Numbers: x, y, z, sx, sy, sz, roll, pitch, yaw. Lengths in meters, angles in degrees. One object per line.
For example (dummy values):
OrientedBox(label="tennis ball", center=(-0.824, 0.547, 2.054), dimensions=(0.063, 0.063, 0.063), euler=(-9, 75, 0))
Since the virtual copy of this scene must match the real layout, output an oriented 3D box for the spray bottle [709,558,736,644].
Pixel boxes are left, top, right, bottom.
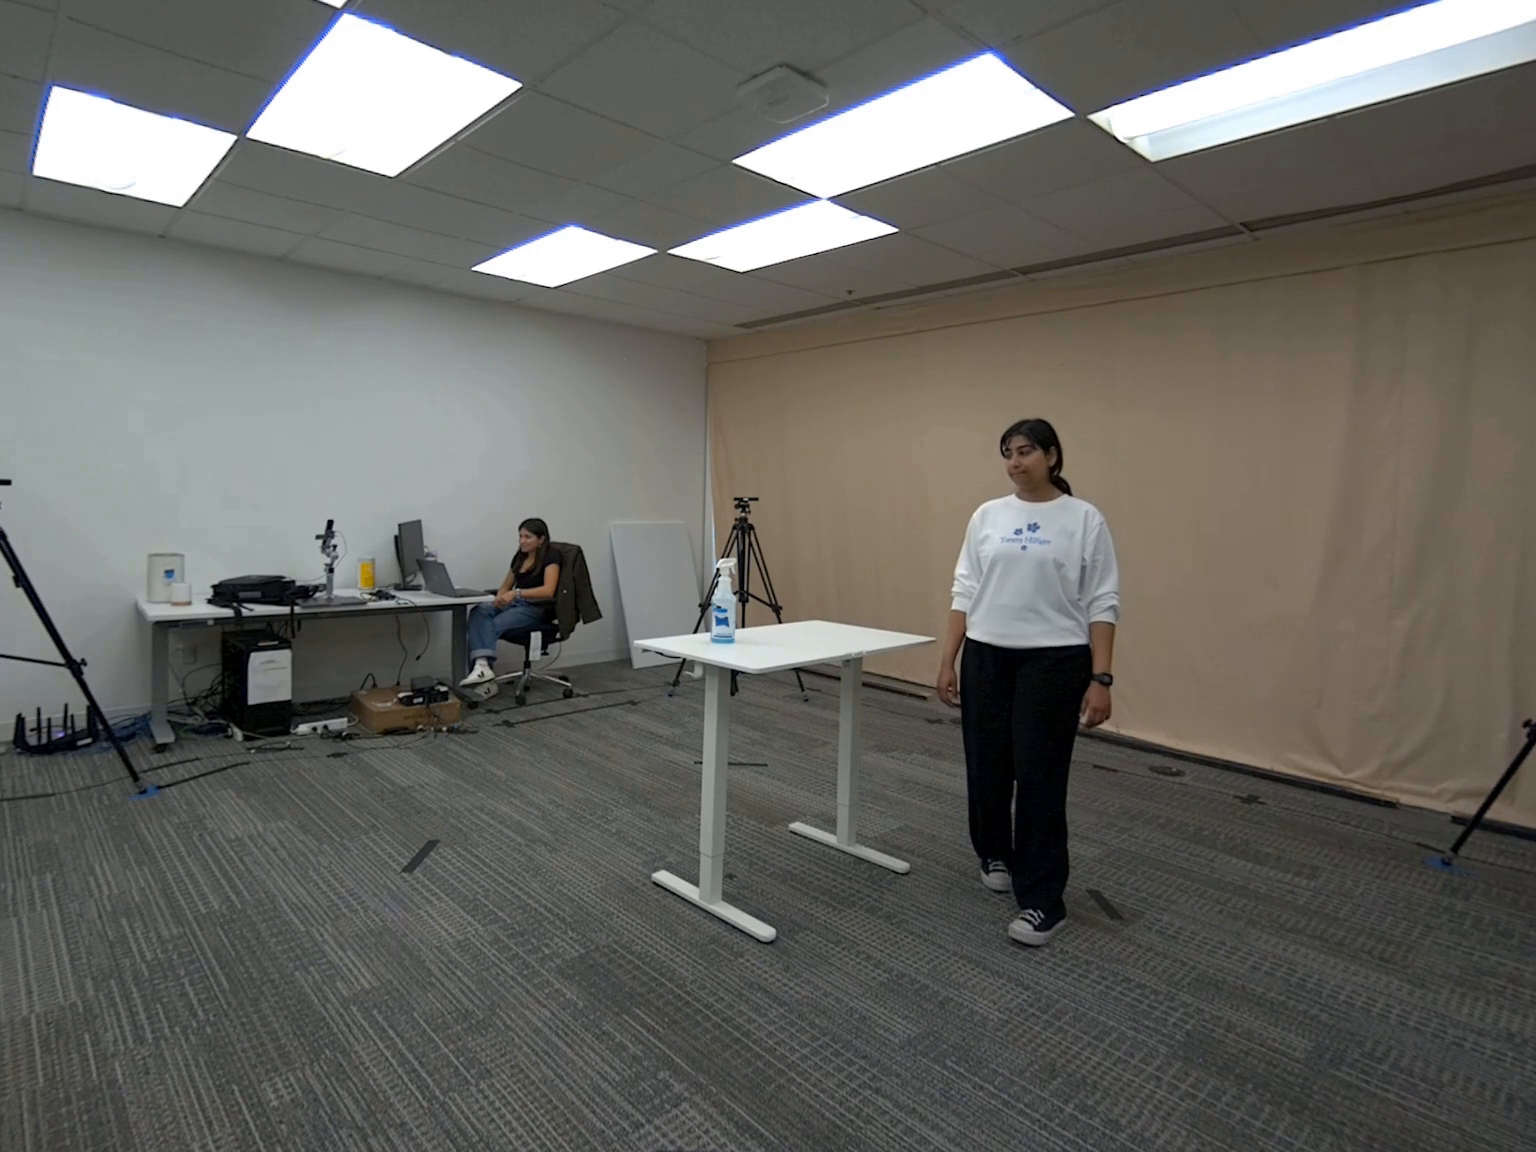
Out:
OrientedBox(label="spray bottle", center=(-0.155, 0.088, 2.991), dimensions=(0.089, 0.297, 0.088), euler=(4, 1, -19))
